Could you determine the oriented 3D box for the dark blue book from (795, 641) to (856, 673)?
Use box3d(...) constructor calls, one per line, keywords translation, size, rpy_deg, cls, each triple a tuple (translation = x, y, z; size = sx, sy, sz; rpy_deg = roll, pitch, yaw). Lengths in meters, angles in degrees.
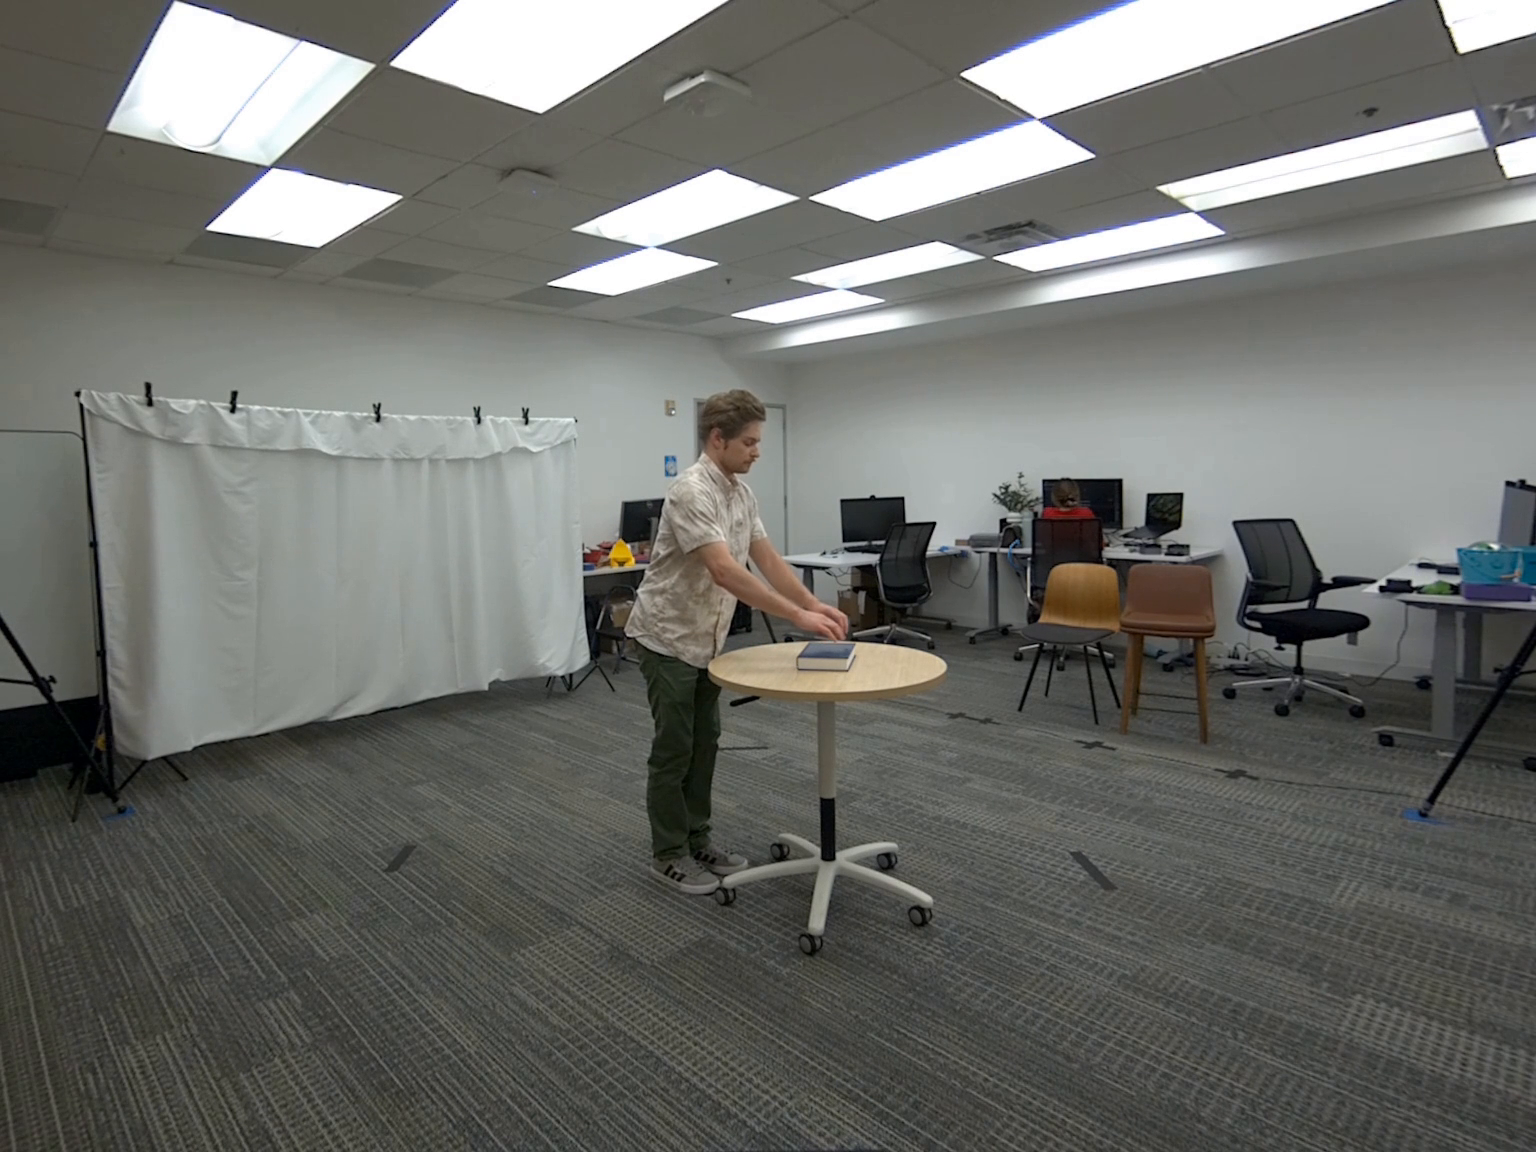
box3d(translation=(0.203, 0.260, 2.780), size=(0.165, 0.045, 0.243), rpy_deg=(0, 6, 12), cls="dark blue book")
